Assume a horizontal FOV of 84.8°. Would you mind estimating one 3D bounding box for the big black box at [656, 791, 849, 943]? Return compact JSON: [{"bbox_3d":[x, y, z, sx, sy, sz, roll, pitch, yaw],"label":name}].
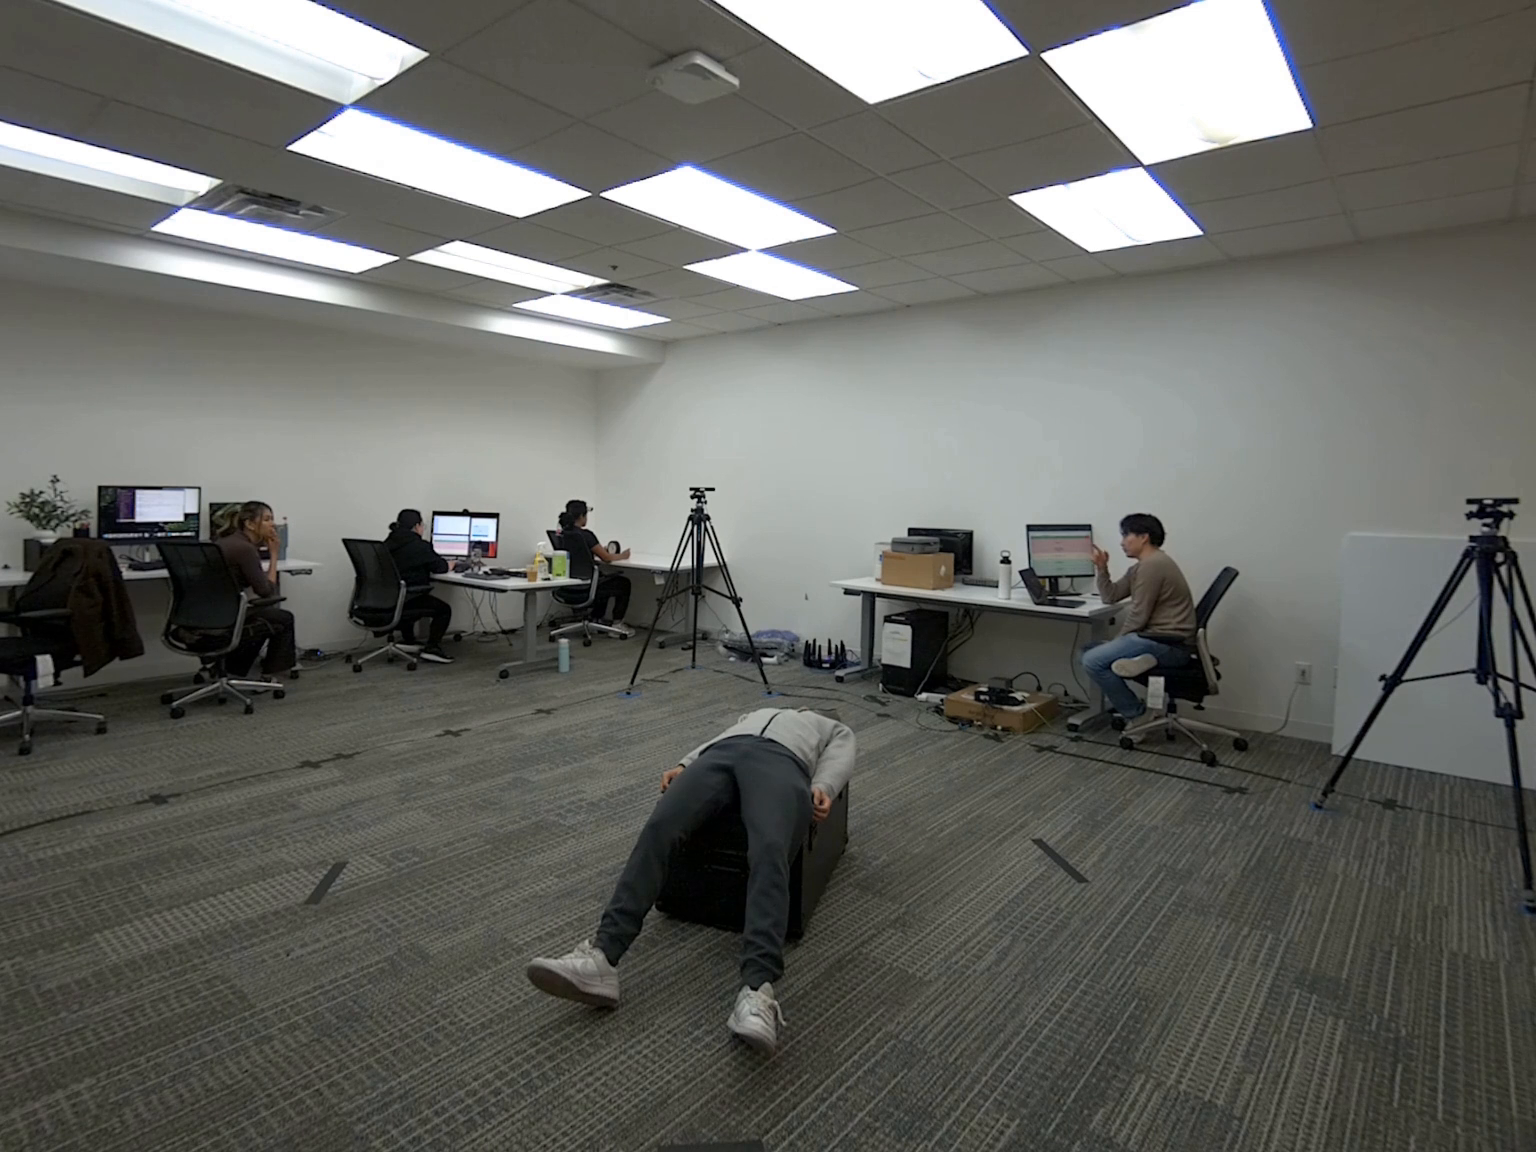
[{"bbox_3d":[-0.044,0.897,2.993,0.532,0.395,0.847,2,4,18],"label":"big black box"}]
